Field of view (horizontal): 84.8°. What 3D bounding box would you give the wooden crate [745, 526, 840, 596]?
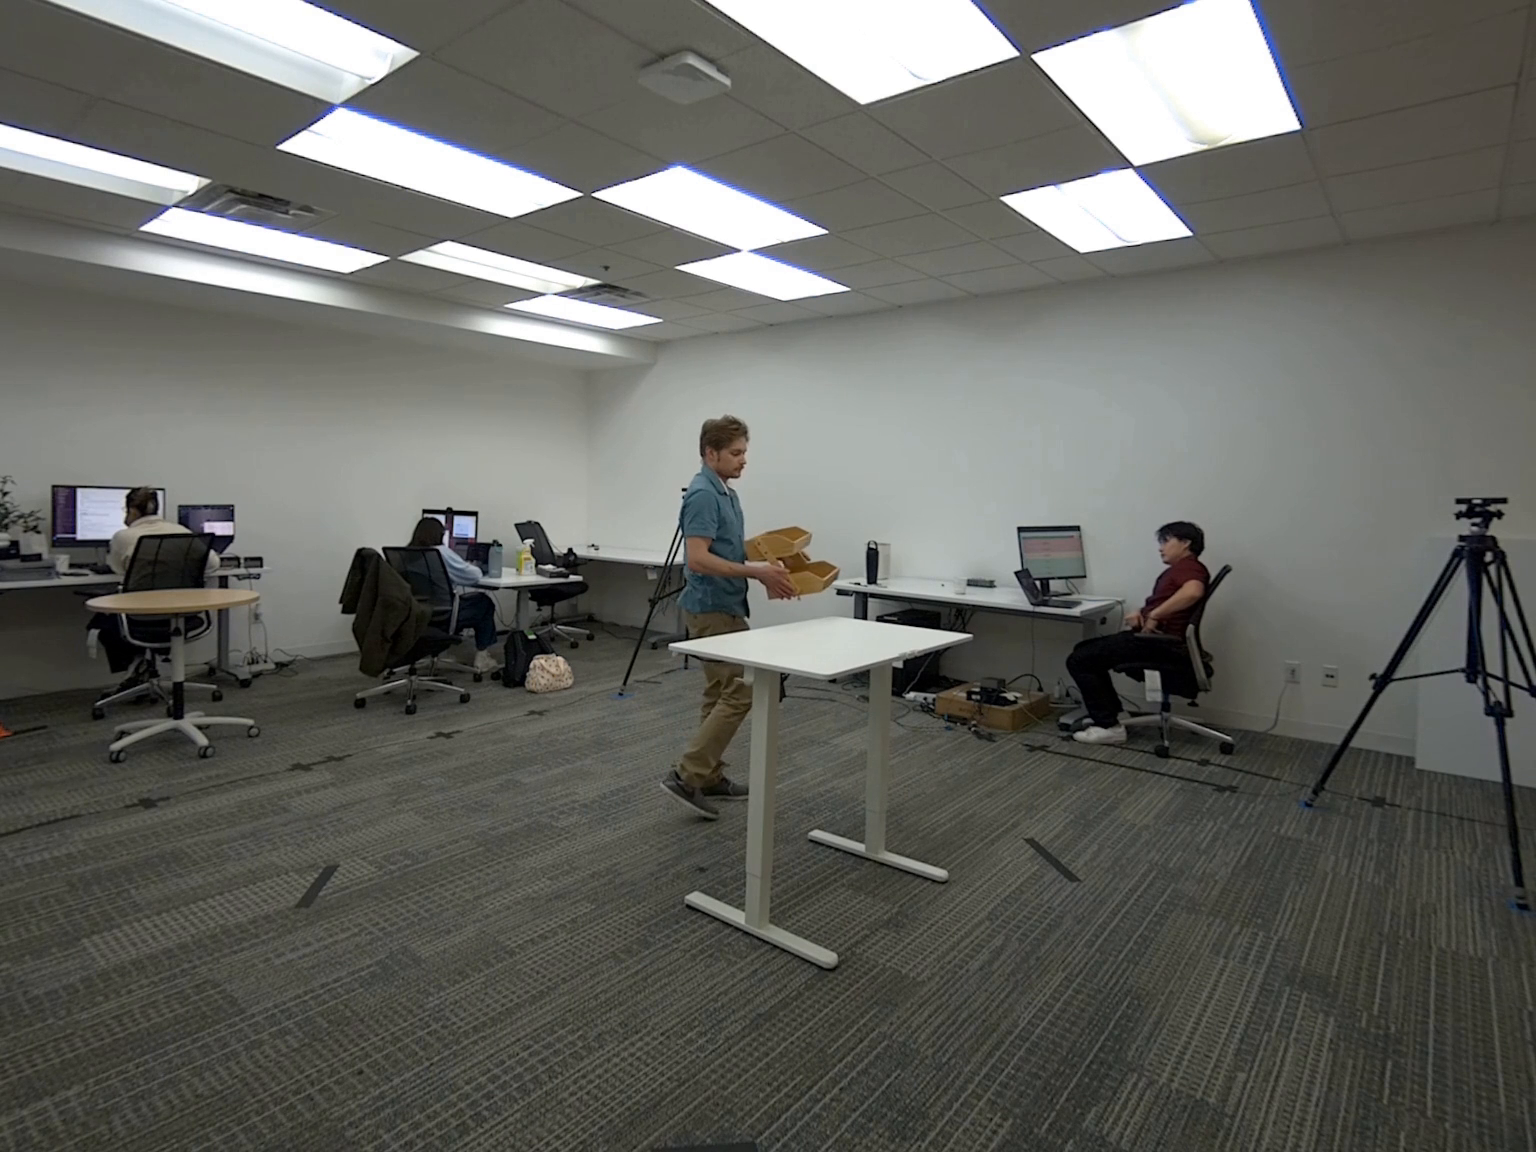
[{"bbox_3d":[0.097,-0.074,3.622,0.307,0.272,0.321,-11,5,20],"label":"wooden crate"}]
